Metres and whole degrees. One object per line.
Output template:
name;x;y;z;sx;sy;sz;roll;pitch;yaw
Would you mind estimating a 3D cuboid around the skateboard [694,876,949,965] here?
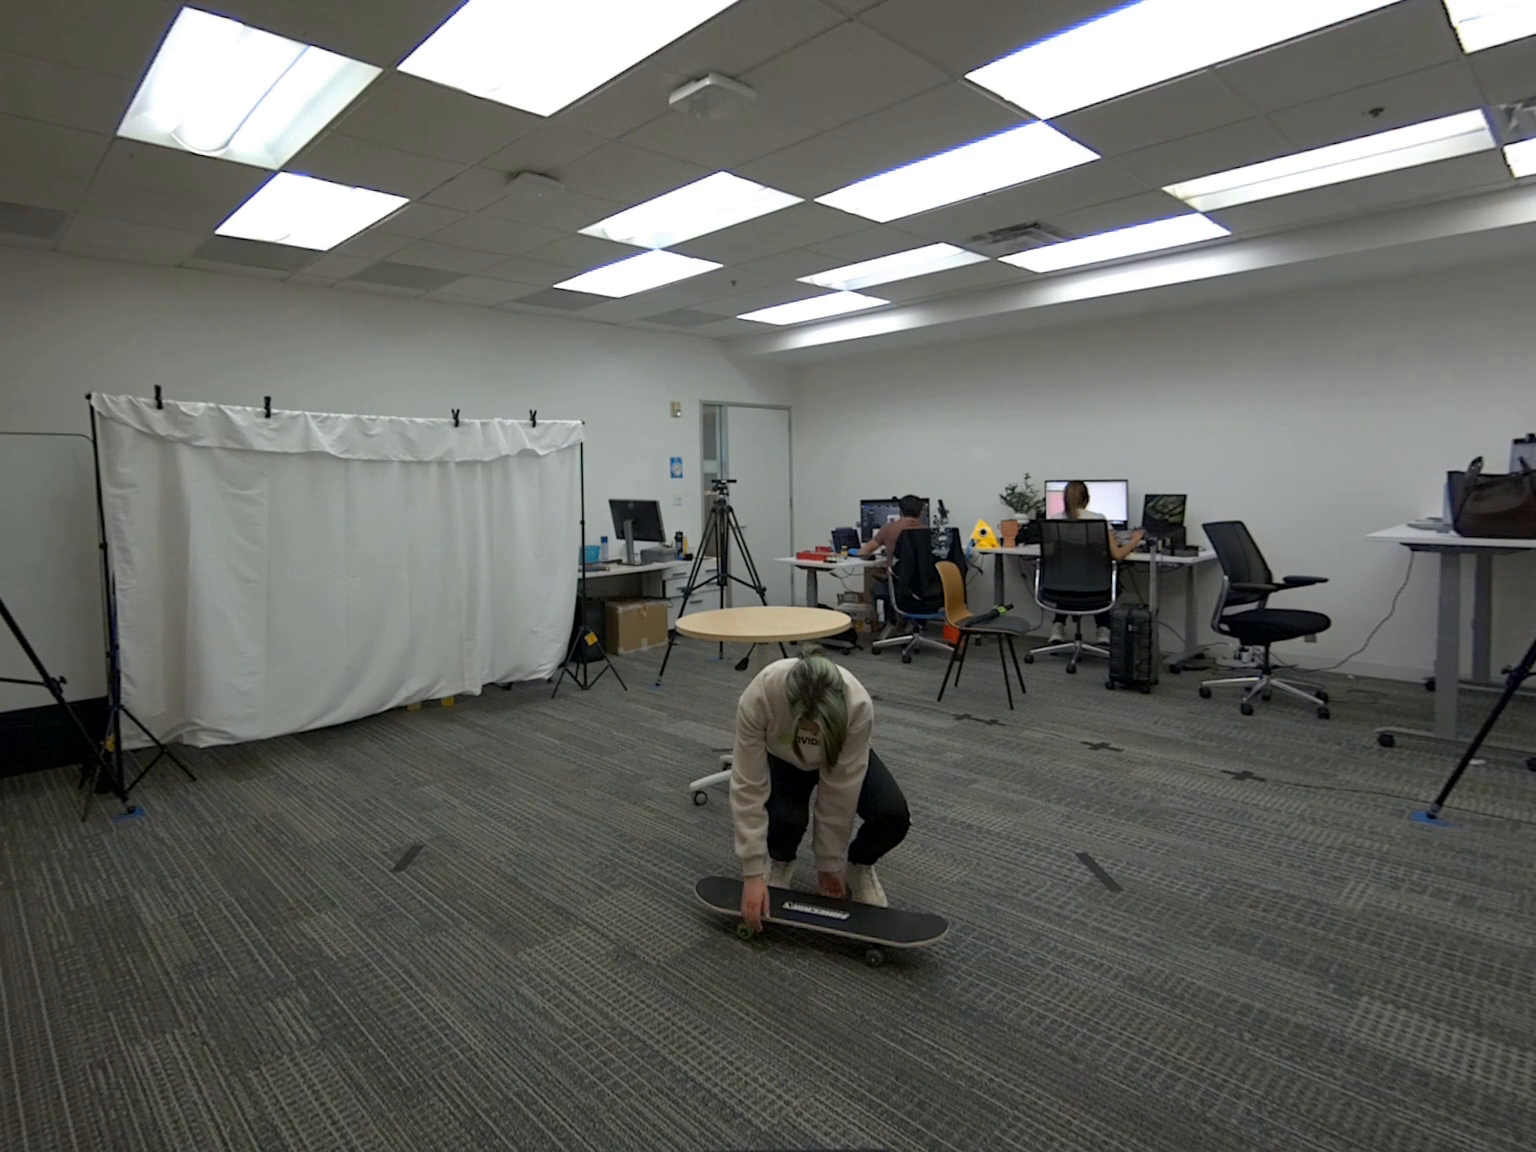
skateboard;0.150;1.041;2.592;0.802;0.110;0.190;2;6;23
